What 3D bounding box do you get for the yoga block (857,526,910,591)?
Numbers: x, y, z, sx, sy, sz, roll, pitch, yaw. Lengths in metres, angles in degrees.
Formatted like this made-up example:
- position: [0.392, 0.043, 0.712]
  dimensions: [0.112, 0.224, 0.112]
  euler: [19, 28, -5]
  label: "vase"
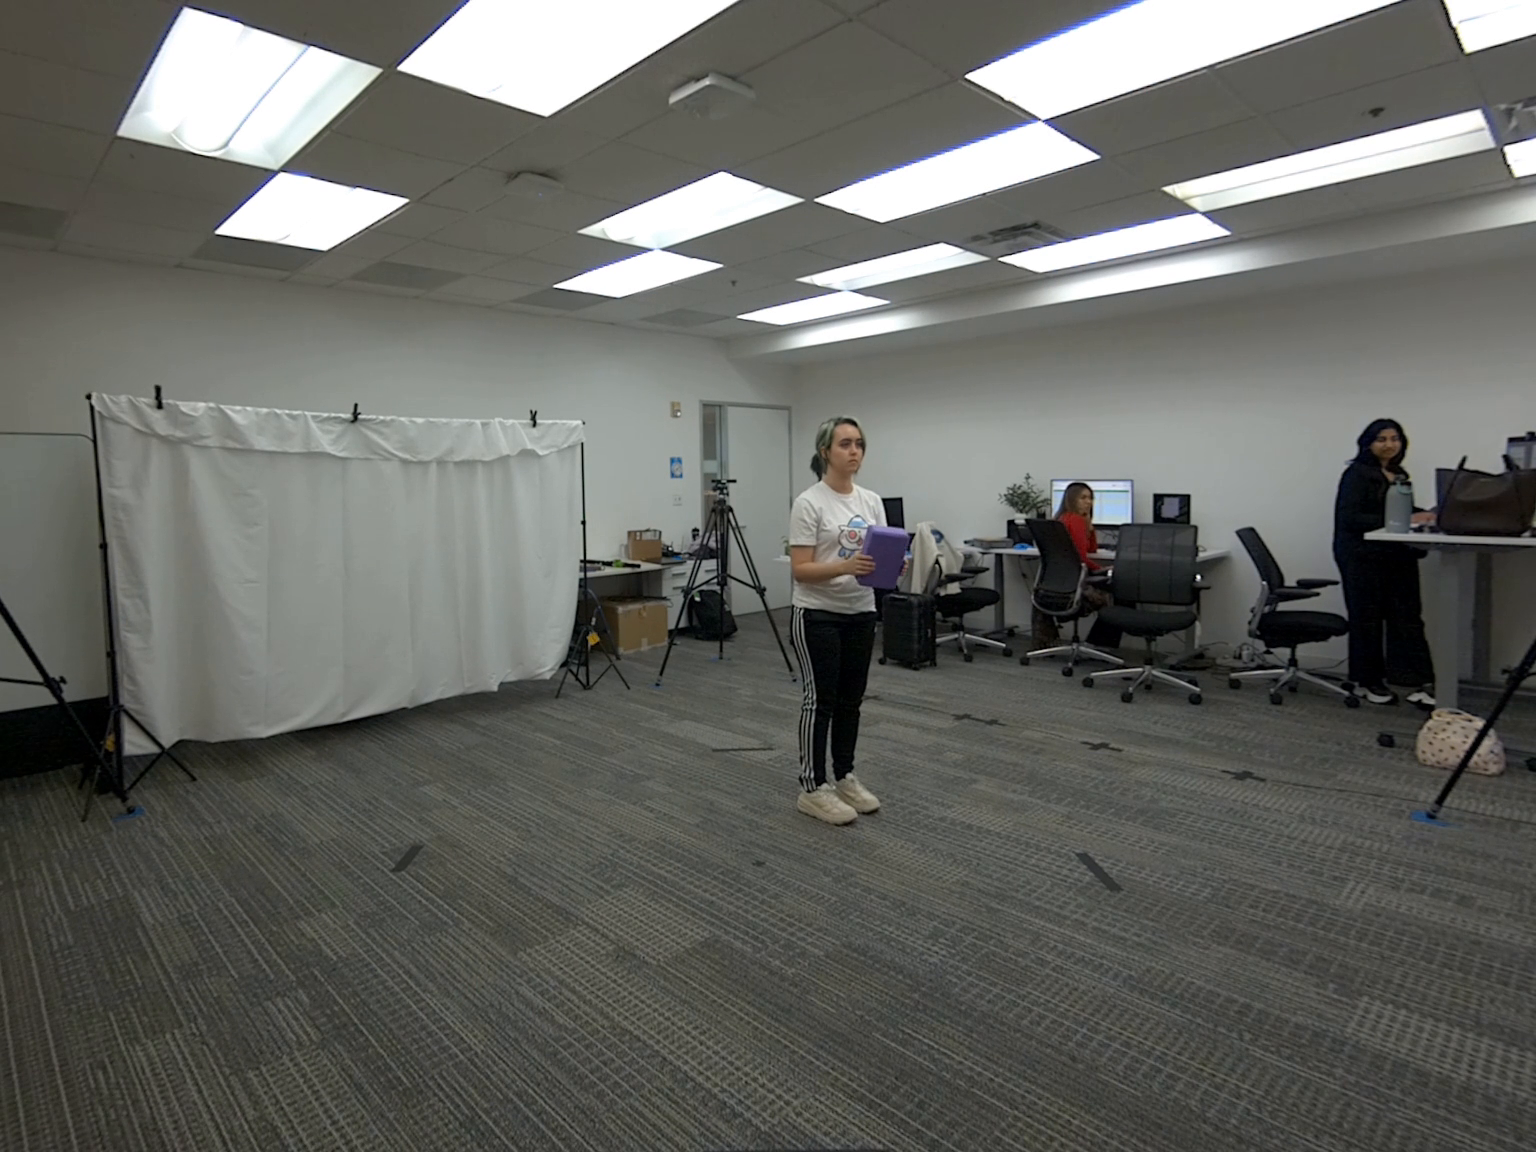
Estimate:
- position: [0.426, -0.059, 3.224]
  dimensions: [0.148, 0.226, 0.078]
  euler: [7, 23, -5]
  label: "yoga block"
